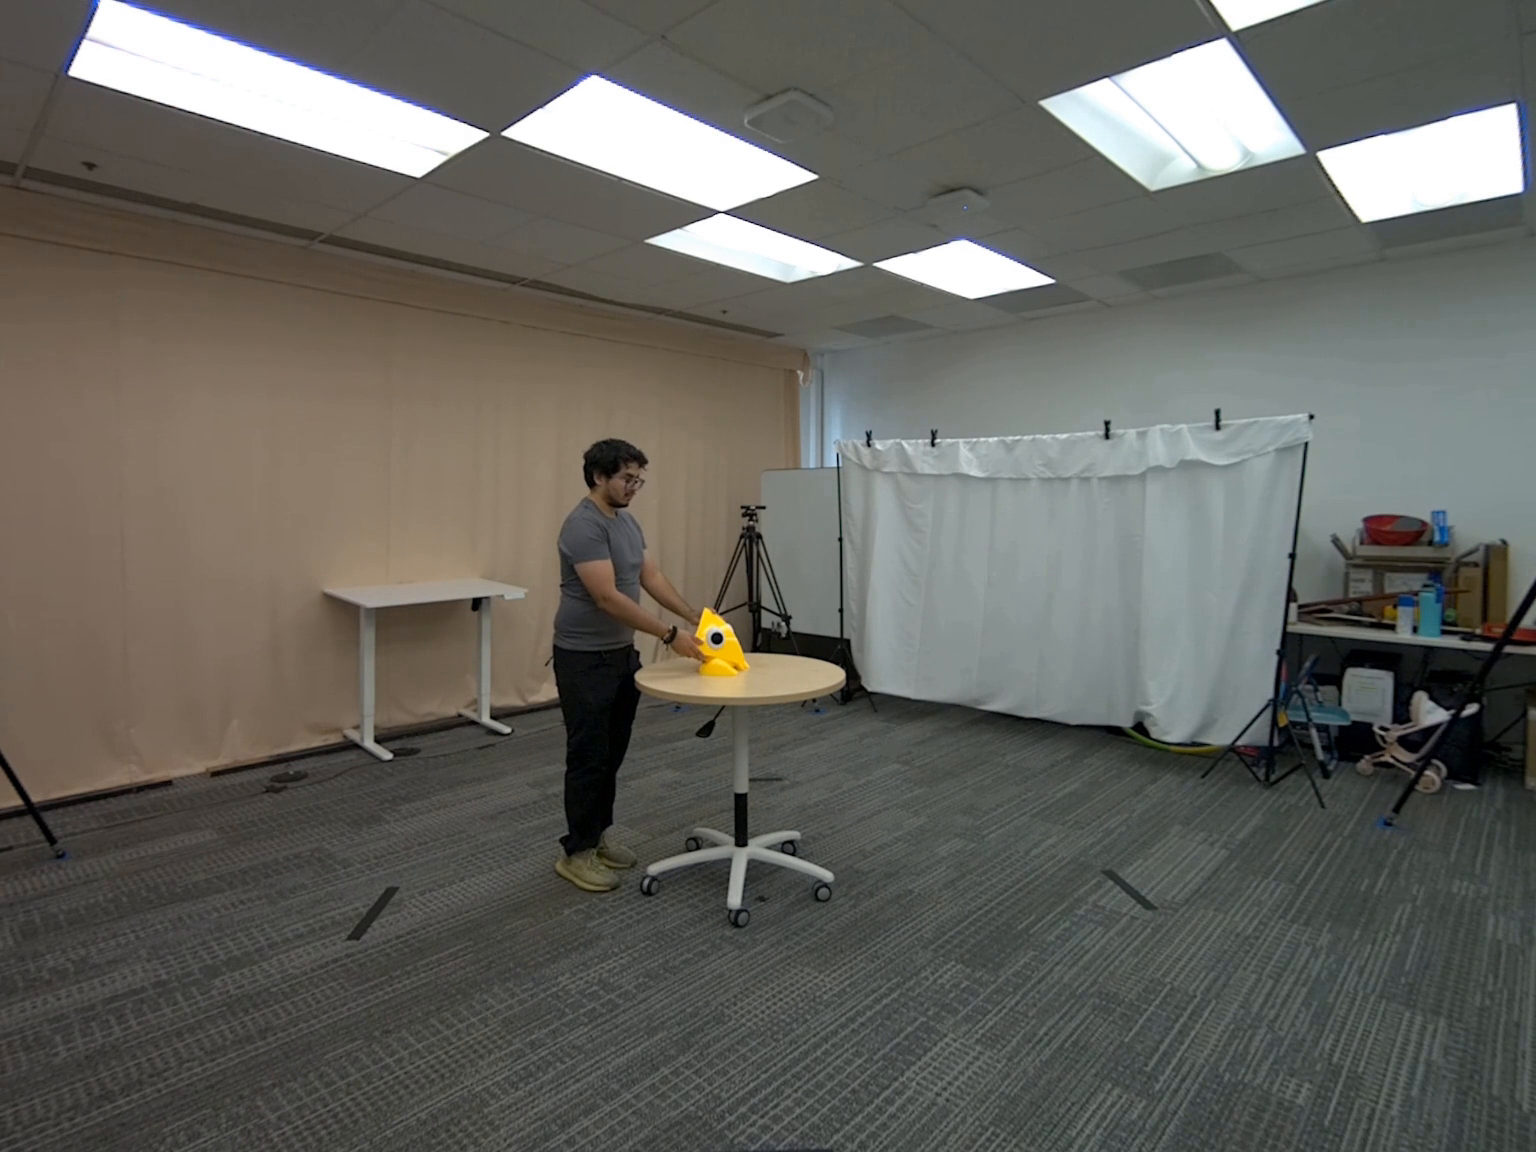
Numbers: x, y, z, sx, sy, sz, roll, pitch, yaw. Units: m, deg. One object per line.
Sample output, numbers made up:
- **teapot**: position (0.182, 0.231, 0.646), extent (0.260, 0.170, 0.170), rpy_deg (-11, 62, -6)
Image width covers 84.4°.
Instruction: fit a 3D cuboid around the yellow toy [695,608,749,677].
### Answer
- **yellow toy**: position (-0.175, 0.238, 3.114), extent (0.197, 0.230, 0.201), rpy_deg (1, 4, 20)
